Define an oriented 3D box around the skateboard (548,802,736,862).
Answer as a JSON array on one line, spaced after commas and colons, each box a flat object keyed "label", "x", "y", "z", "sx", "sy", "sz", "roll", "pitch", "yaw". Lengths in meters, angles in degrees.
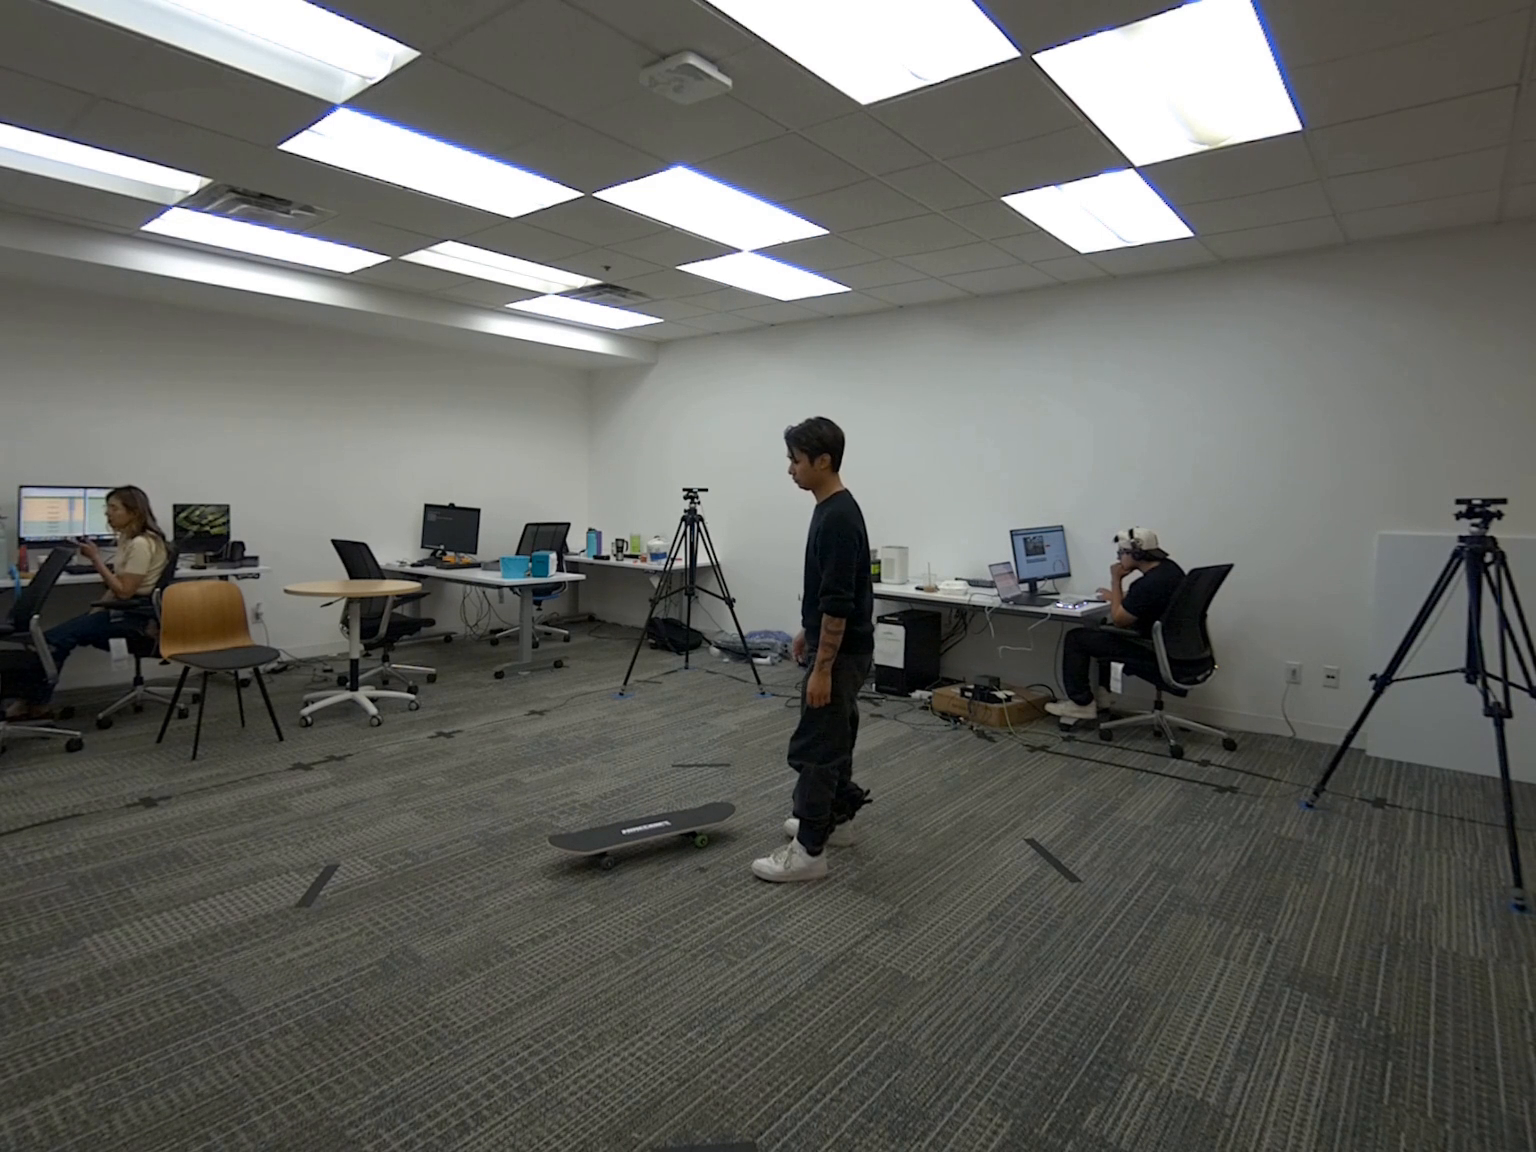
[{"label": "skateboard", "x": -0.475, "y": 0.995, "z": 3.267, "sx": 0.764, "sy": 0.110, "sz": 0.199, "roll": -3, "pitch": 5, "yaw": -32}]
